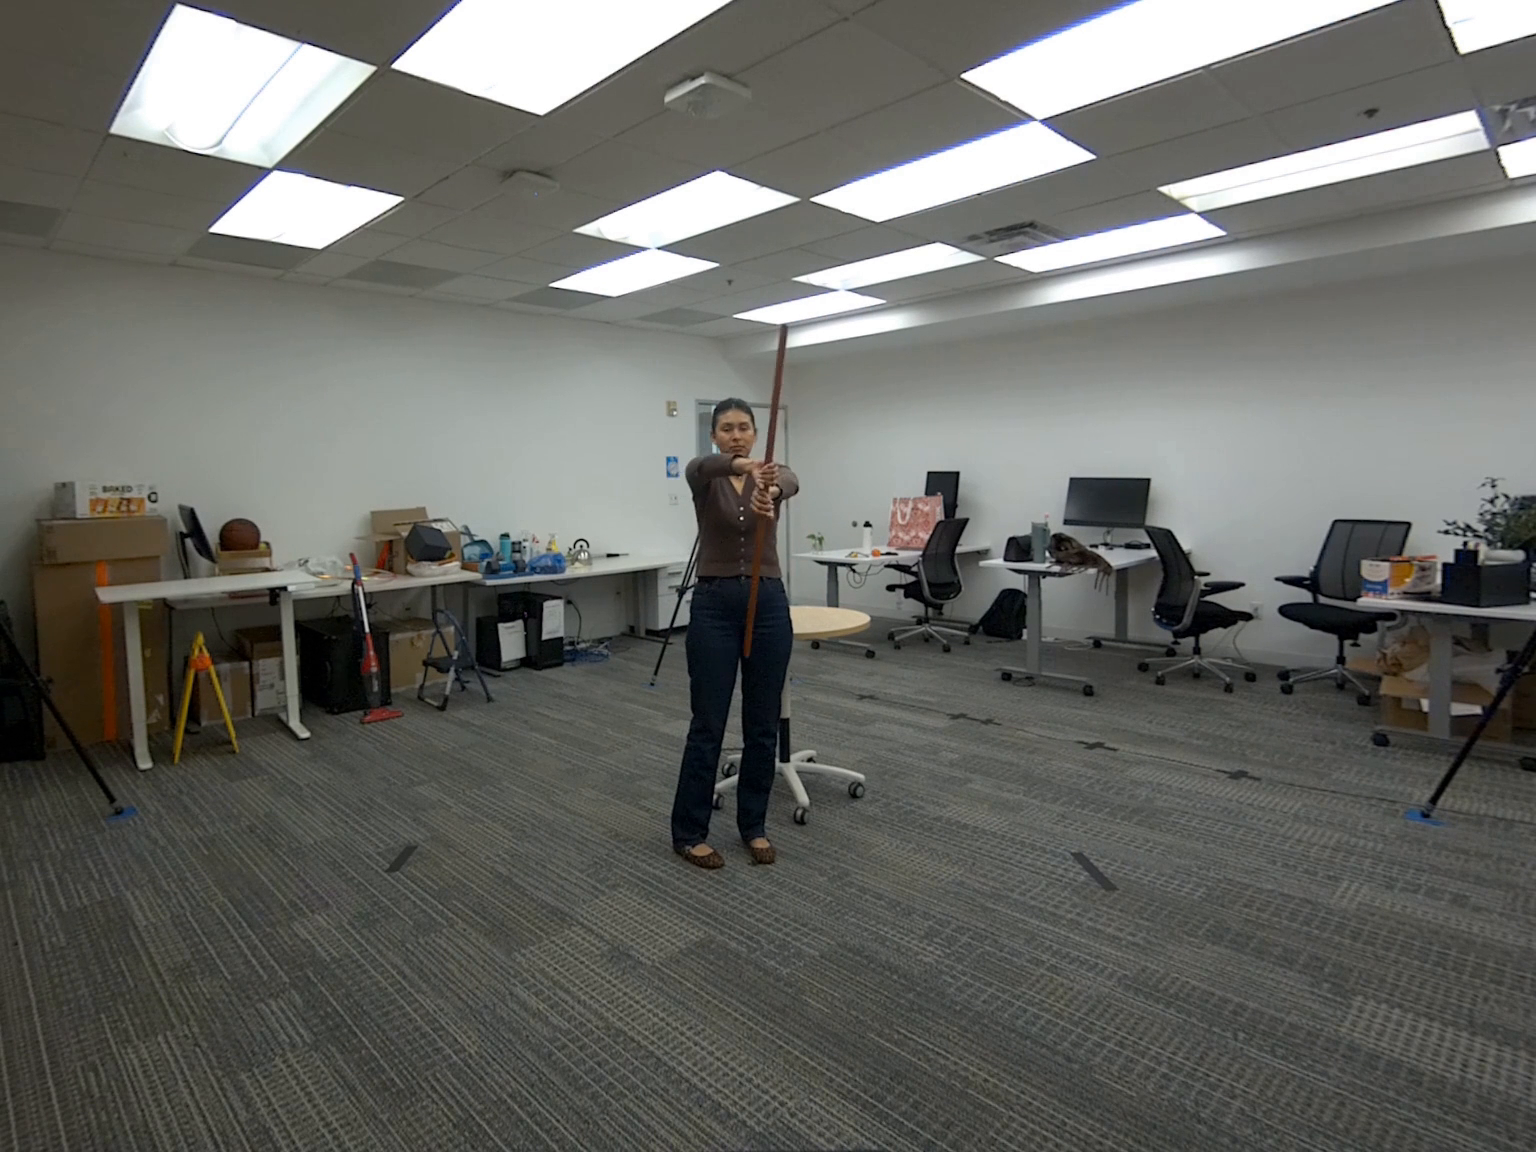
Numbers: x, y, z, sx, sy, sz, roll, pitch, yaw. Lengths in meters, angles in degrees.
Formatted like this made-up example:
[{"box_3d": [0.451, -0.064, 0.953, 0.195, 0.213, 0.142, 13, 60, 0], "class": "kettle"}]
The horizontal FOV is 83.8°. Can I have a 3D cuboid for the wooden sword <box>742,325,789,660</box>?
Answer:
[{"box_3d": [-0.002, -0.262, 2.665, 0.050, 1.017, 0.025, 2, 10, -24], "class": "wooden sword"}]
